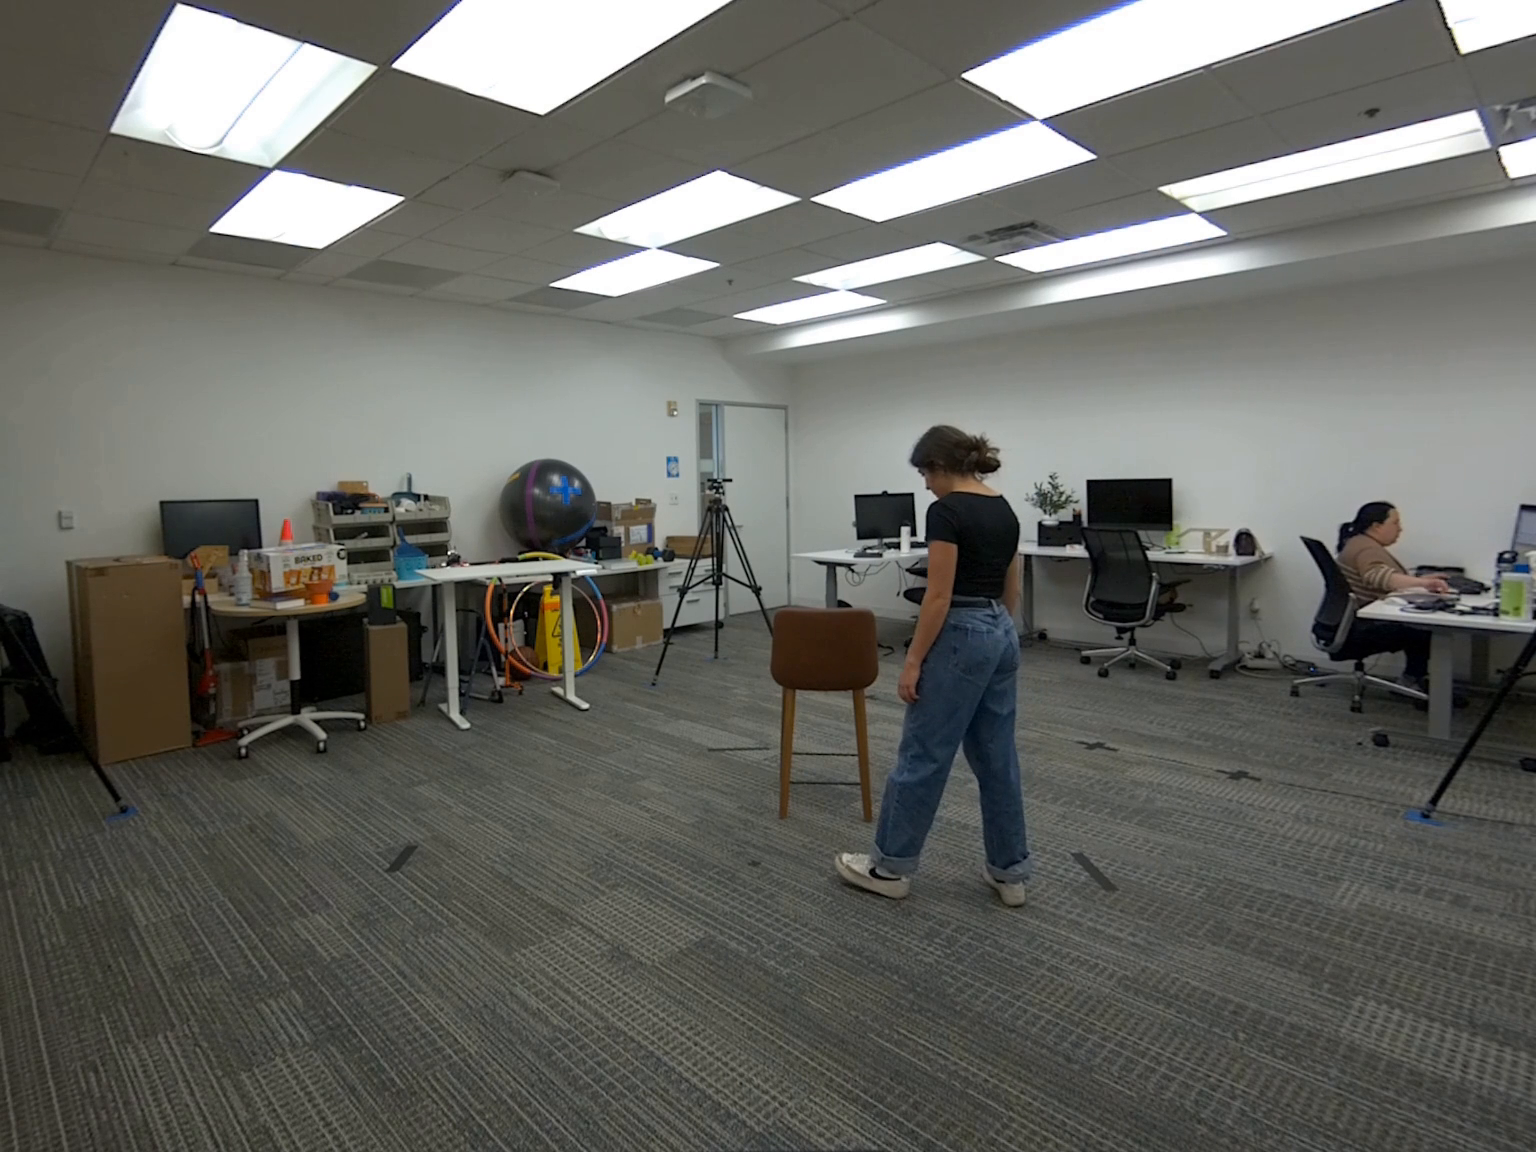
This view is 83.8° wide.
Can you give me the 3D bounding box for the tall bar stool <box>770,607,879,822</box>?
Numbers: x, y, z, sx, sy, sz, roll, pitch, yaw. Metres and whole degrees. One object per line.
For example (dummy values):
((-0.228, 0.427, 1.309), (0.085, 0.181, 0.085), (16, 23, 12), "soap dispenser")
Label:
((0.244, 0.542, 3.680), (0.460, 0.885, 0.467), (0, 6, 6), "tall bar stool")
